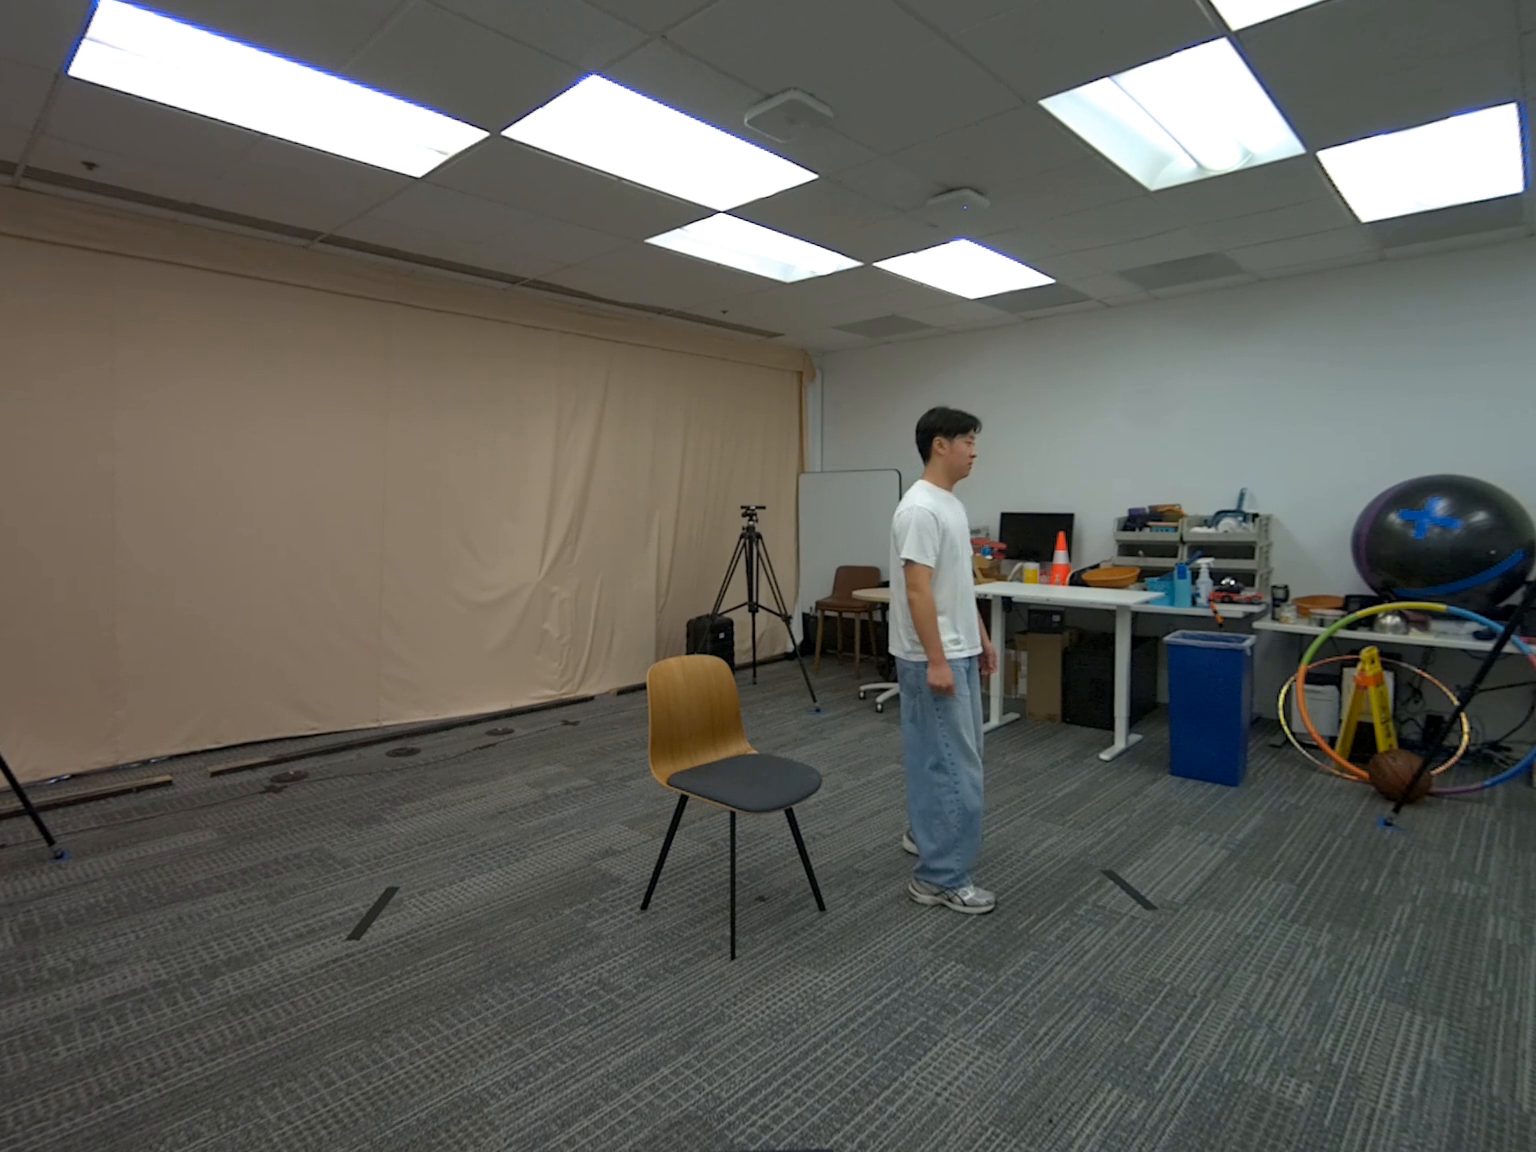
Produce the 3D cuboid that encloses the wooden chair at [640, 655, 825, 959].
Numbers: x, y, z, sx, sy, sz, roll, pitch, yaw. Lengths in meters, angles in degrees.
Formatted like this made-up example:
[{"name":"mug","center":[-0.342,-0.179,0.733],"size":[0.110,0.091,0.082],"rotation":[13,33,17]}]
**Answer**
[{"name":"wooden chair","center":[-0.113,0.730,2.857],"size":[0.539,0.877,0.463],"rotation":[-3,1,45]}]
